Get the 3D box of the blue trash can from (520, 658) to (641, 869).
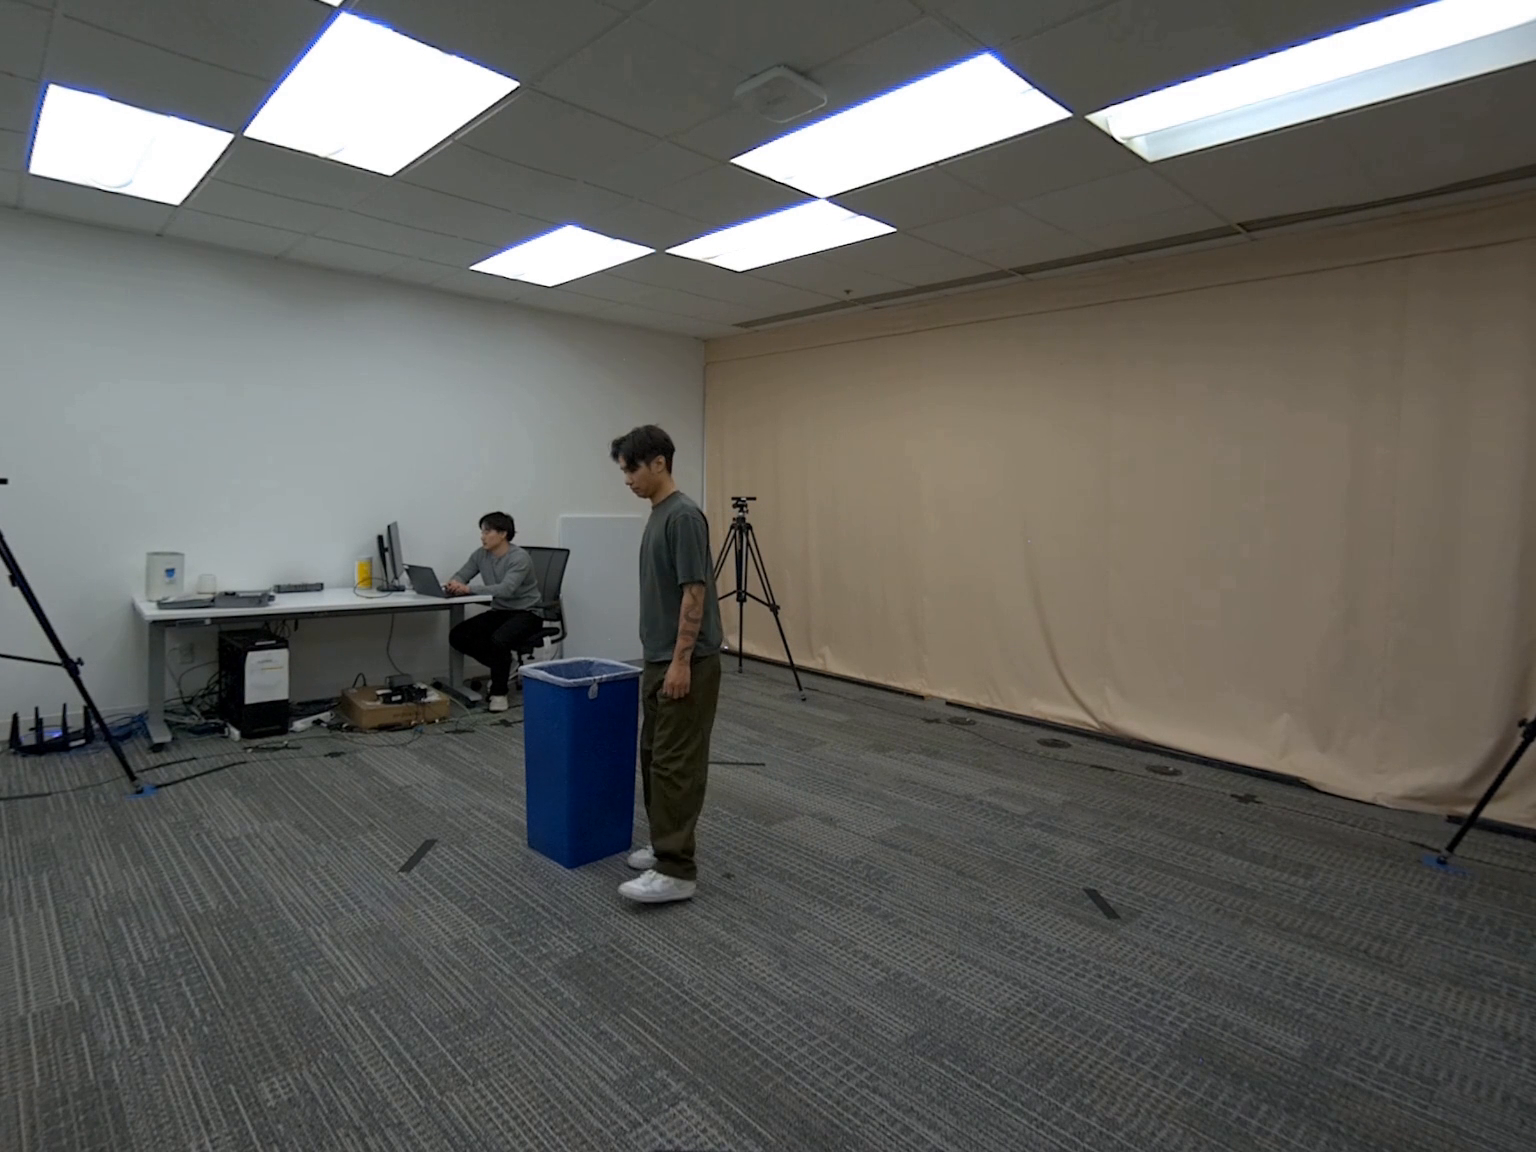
[{"bbox_3d":[-0.746,0.718,3.311,0.387,0.712,0.365,3,3,42],"label":"blue trash can"}]
